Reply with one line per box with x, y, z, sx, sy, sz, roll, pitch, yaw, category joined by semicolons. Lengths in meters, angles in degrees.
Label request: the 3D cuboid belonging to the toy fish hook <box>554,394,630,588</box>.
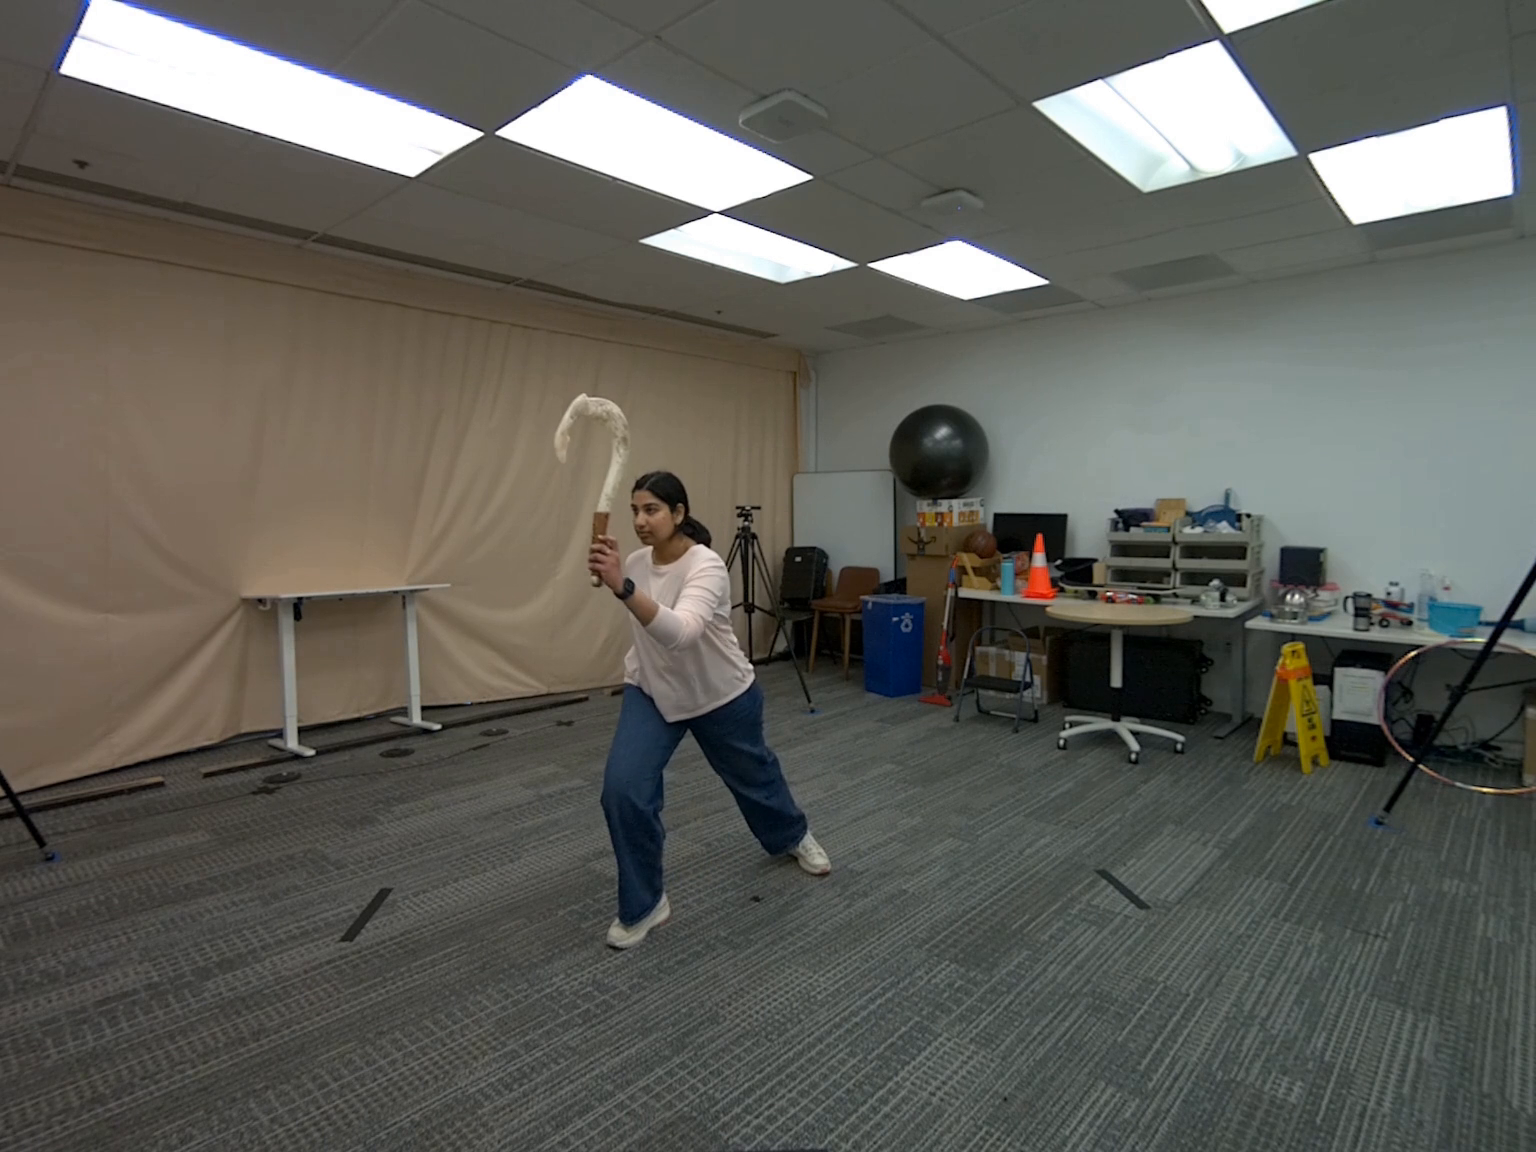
-0.476;-0.213;2.237;0.217;0.507;0.050;5;-4;-37;toy fish hook
